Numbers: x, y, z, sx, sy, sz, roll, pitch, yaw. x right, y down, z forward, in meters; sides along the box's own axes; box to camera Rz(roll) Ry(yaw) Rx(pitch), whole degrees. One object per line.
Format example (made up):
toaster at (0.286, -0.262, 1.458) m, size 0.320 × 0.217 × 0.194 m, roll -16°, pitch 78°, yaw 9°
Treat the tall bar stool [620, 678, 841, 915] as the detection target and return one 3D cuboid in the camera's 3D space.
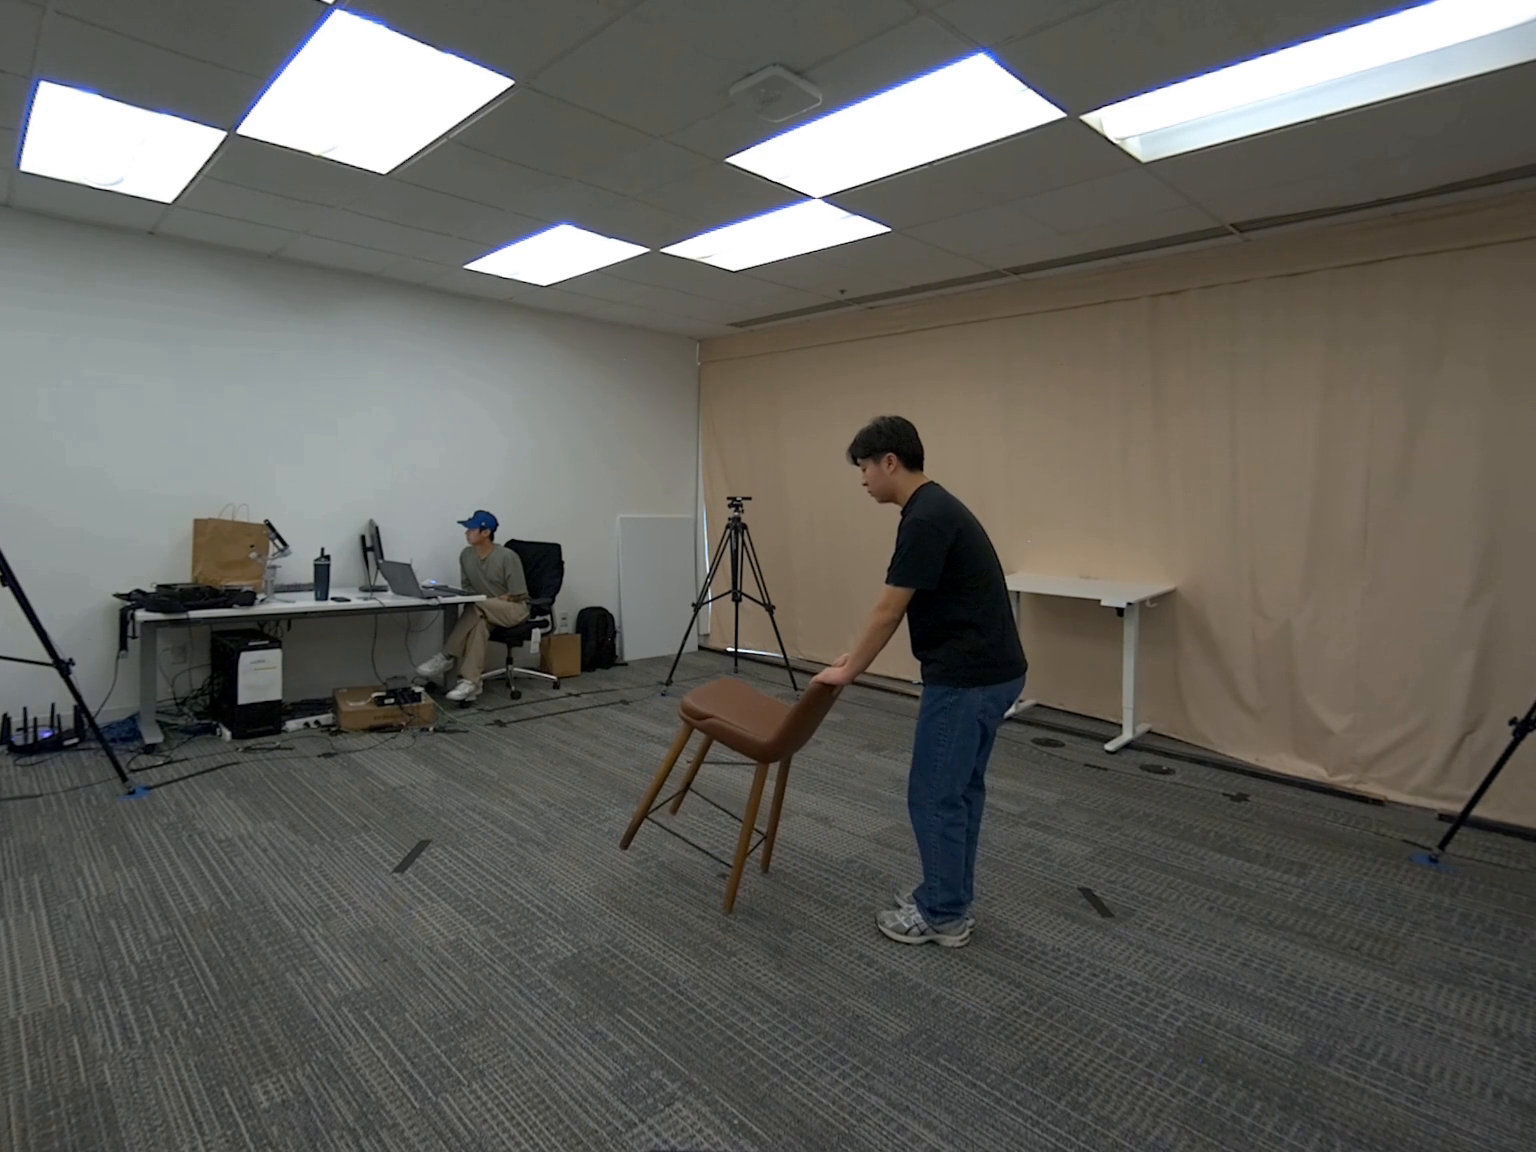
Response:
tall bar stool at (-0.107, 0.640, 2.981) m, size 0.477 × 0.885 × 0.449 m, roll 26°, pitch 12°, yaw 20°
